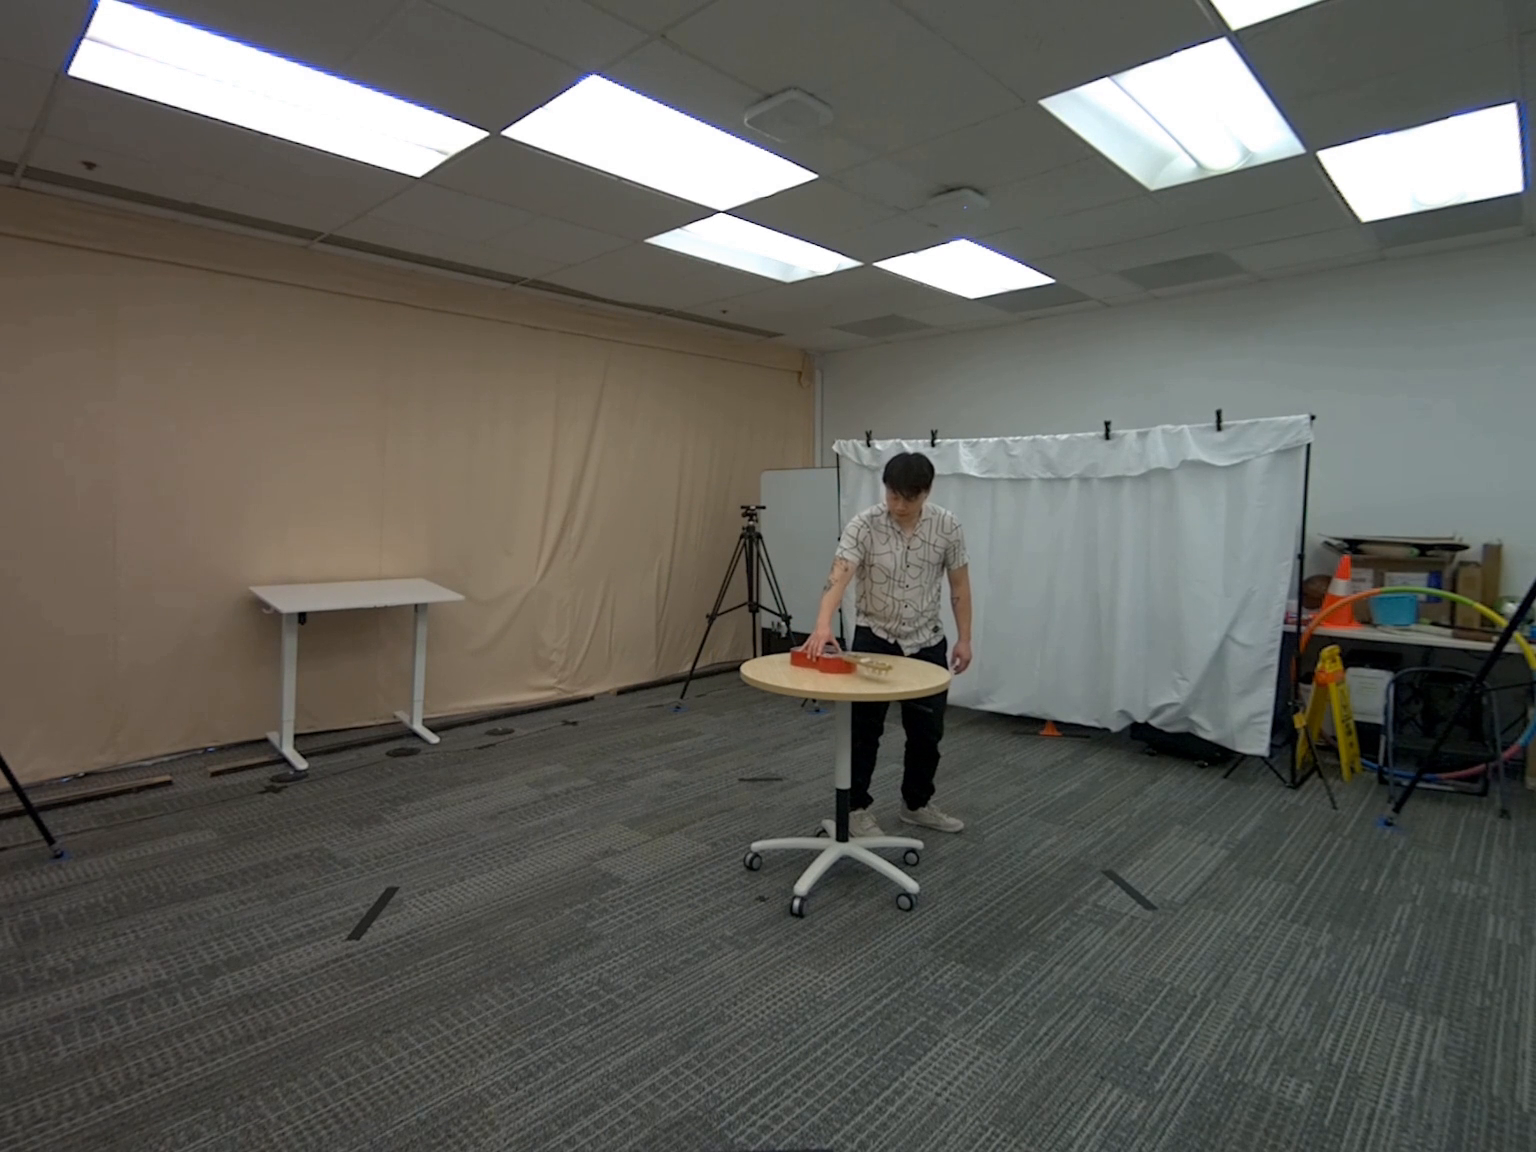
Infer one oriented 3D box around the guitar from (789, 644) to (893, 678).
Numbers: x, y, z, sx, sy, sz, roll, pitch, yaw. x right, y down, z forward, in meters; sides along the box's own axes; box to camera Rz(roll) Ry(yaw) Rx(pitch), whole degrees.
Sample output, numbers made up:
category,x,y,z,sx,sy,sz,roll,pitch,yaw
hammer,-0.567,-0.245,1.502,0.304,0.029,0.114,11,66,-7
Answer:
category,x,y,z,sx,sy,sz,roll,pitch,yaw
guitar,0.258,0.320,3.057,0.189,0.070,0.509,-1,4,-21
